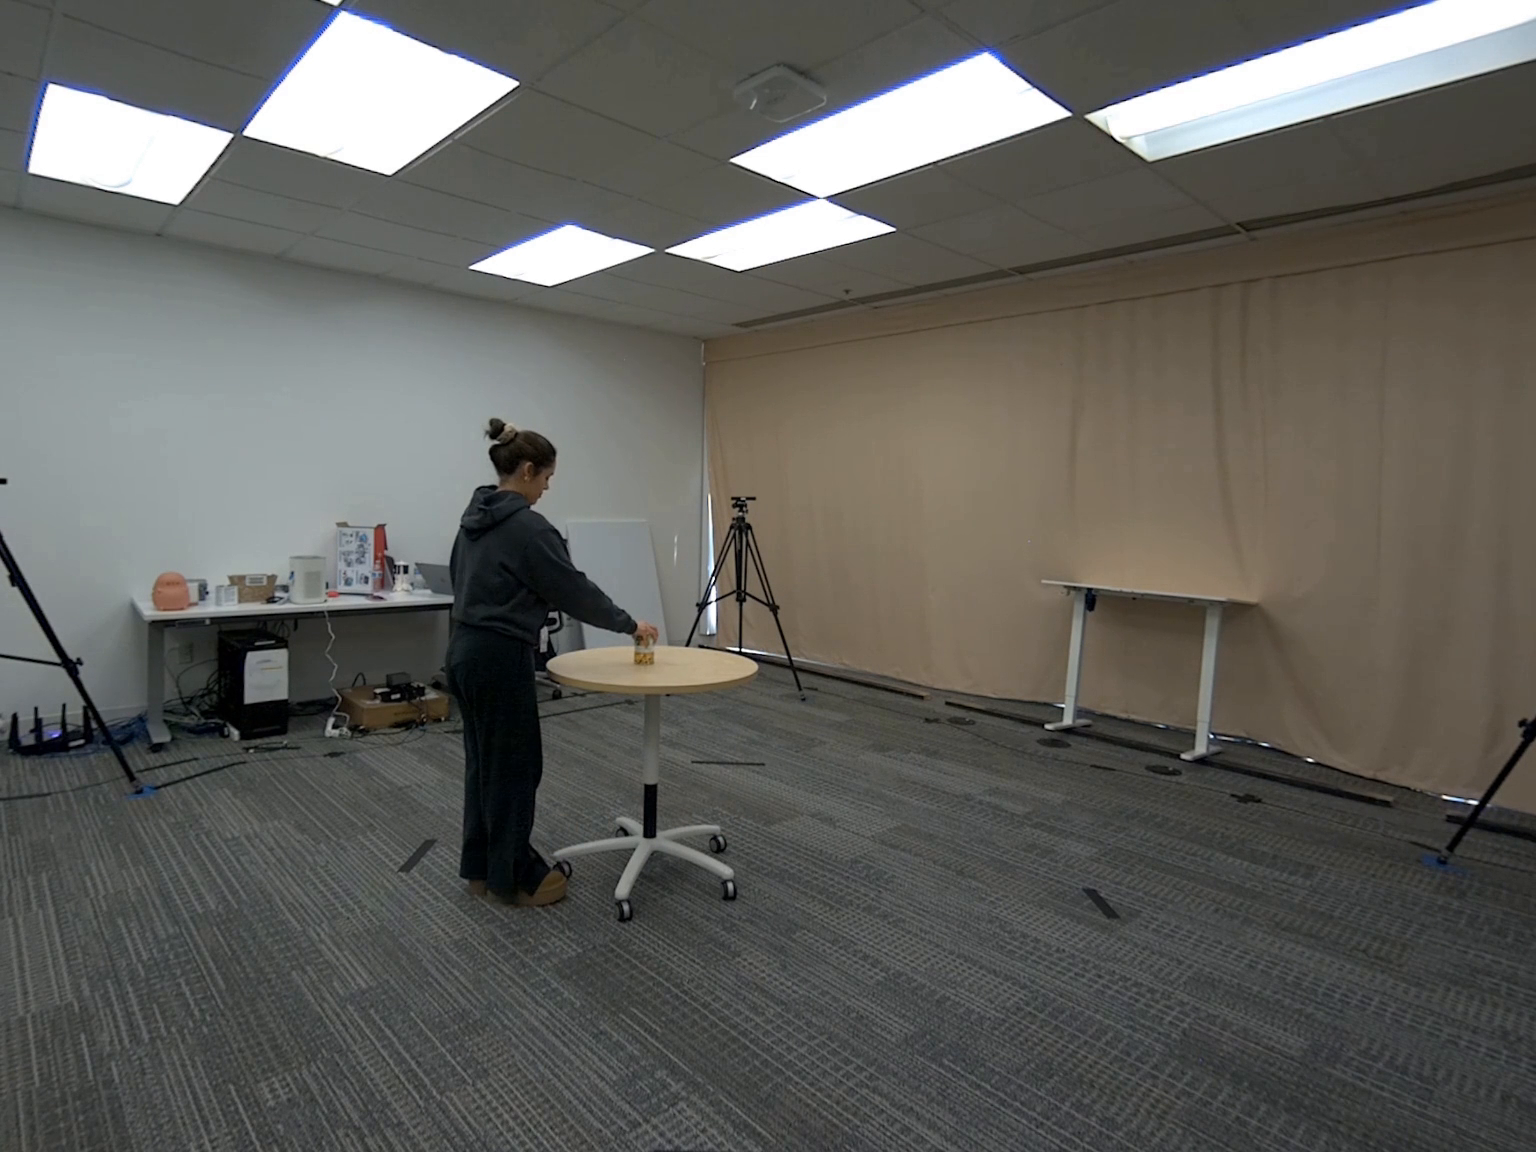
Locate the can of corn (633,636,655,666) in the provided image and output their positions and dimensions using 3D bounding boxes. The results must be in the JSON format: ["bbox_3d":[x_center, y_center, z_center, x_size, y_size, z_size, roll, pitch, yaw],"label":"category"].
[{"bbox_3d":[-0.466,0.265,3.067,0.074,0.110,0.074,3,5,-2],"label":"can of corn"}]
